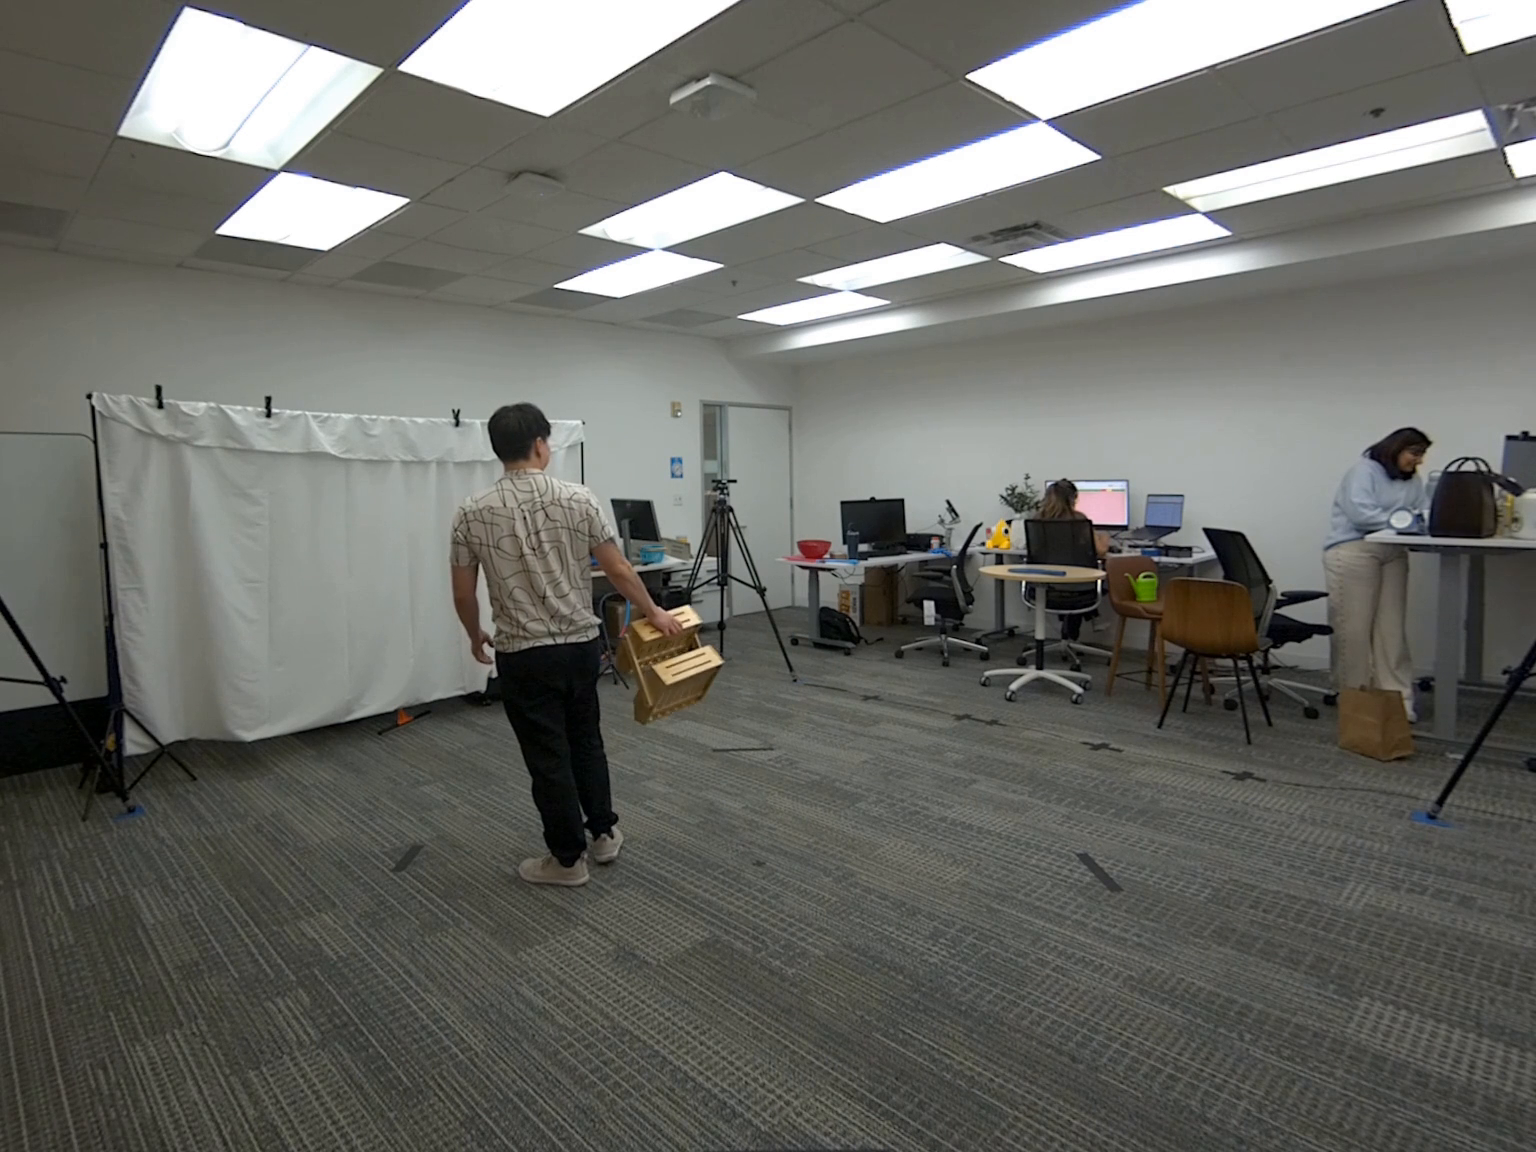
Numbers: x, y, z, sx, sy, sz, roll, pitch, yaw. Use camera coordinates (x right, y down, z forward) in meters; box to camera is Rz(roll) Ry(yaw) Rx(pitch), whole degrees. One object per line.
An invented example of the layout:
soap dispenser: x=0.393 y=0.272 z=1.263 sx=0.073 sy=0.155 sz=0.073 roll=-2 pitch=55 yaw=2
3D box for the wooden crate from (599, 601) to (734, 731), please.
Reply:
wooden crate: x=-0.385 y=0.328 z=3.202 sx=0.317 sy=0.299 sz=0.281 roll=-15 pitch=54 yaw=-48
